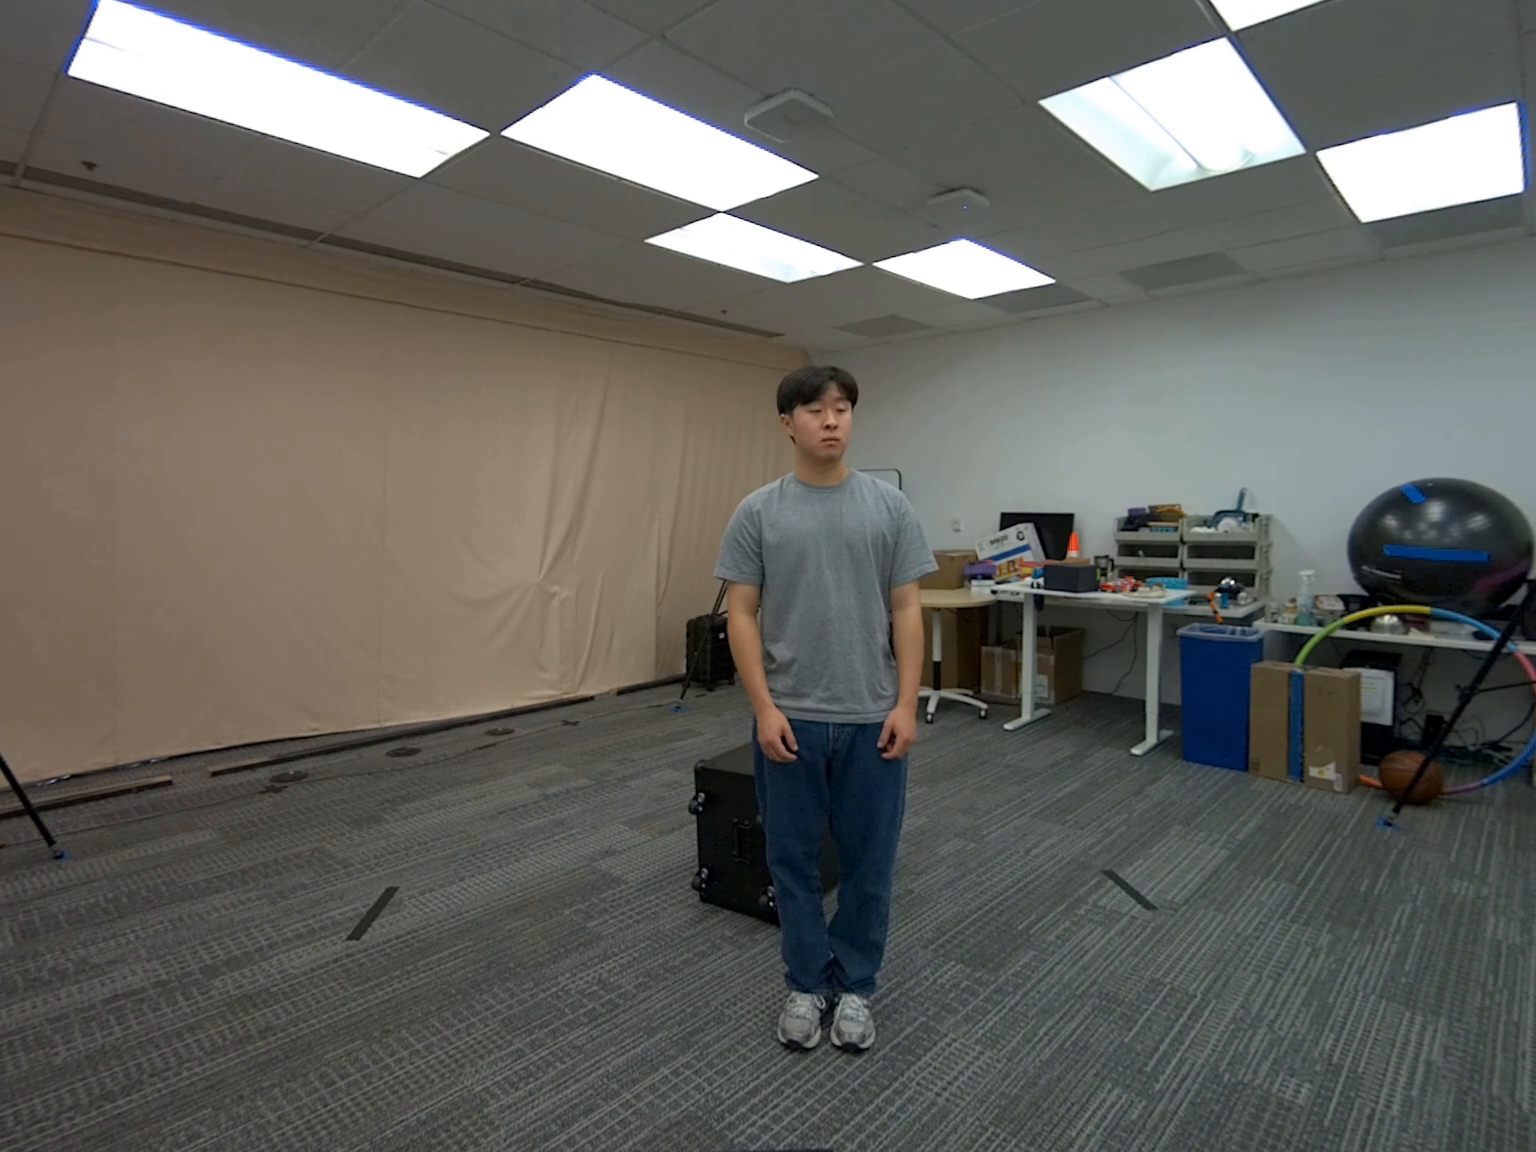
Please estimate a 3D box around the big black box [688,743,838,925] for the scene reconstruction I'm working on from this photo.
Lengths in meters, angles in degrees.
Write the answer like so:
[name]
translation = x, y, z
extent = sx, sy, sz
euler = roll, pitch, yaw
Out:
[big black box]
translation = 0.080, 0.873, 3.151
extent = 0.408, 0.520, 0.837
euler = -1, 3, 33
